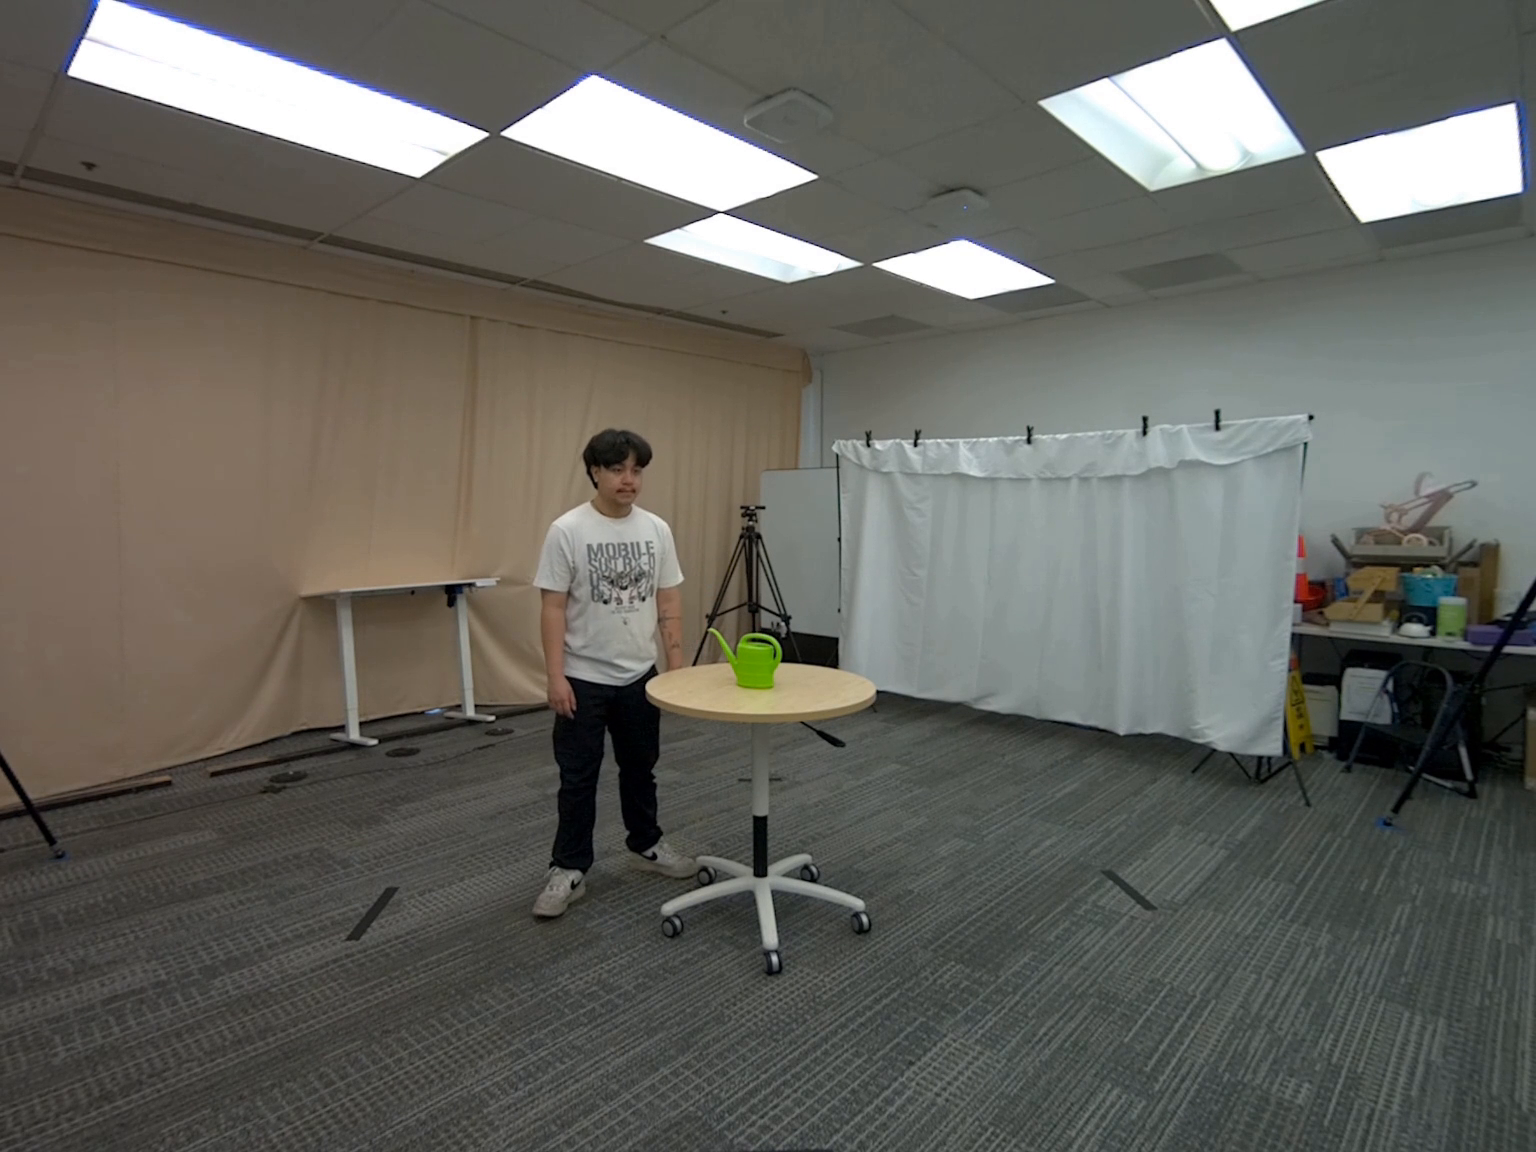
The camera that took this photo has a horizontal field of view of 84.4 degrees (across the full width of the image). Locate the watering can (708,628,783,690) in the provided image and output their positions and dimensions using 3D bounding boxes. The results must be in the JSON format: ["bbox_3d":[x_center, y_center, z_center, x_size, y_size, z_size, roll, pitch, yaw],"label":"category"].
[{"bbox_3d":[-0.065,0.274,2.827,0.288,0.176,0.095,5,5,41],"label":"watering can"}]
